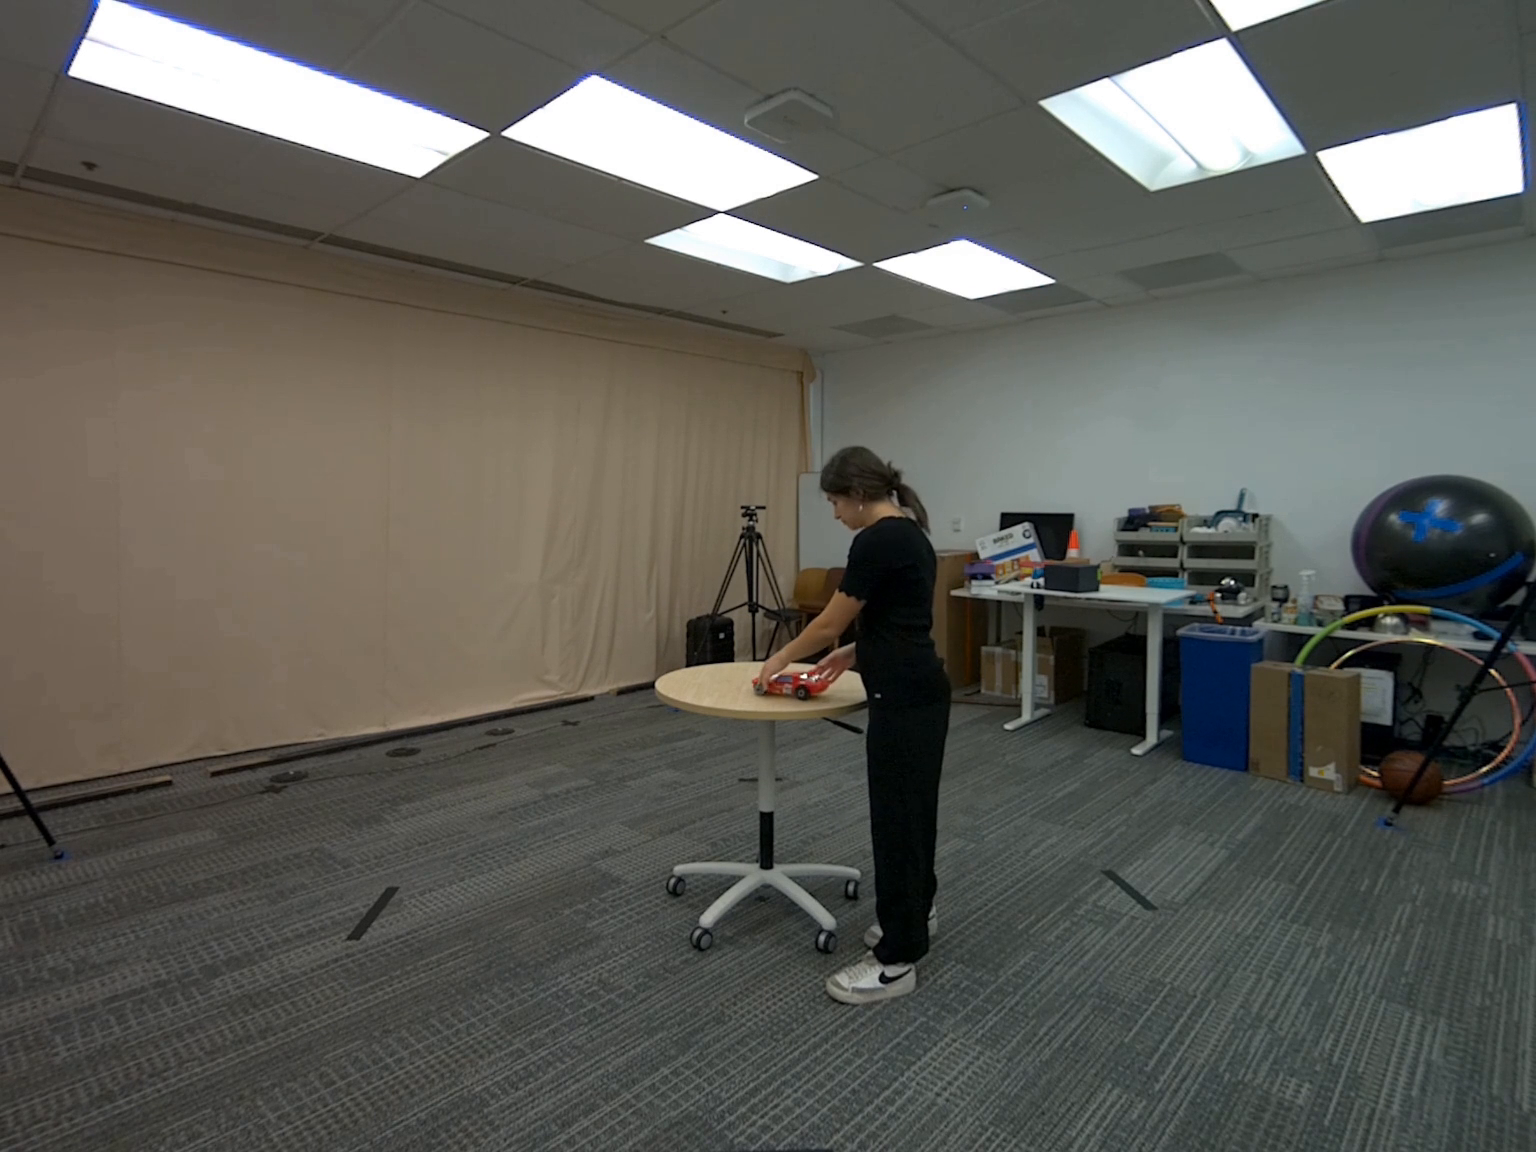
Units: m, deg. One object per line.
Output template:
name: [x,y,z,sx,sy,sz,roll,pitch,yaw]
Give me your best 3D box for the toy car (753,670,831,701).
toy car: [0.083,0.354,2.701,0.260,0.083,0.127,-8,1,25]
